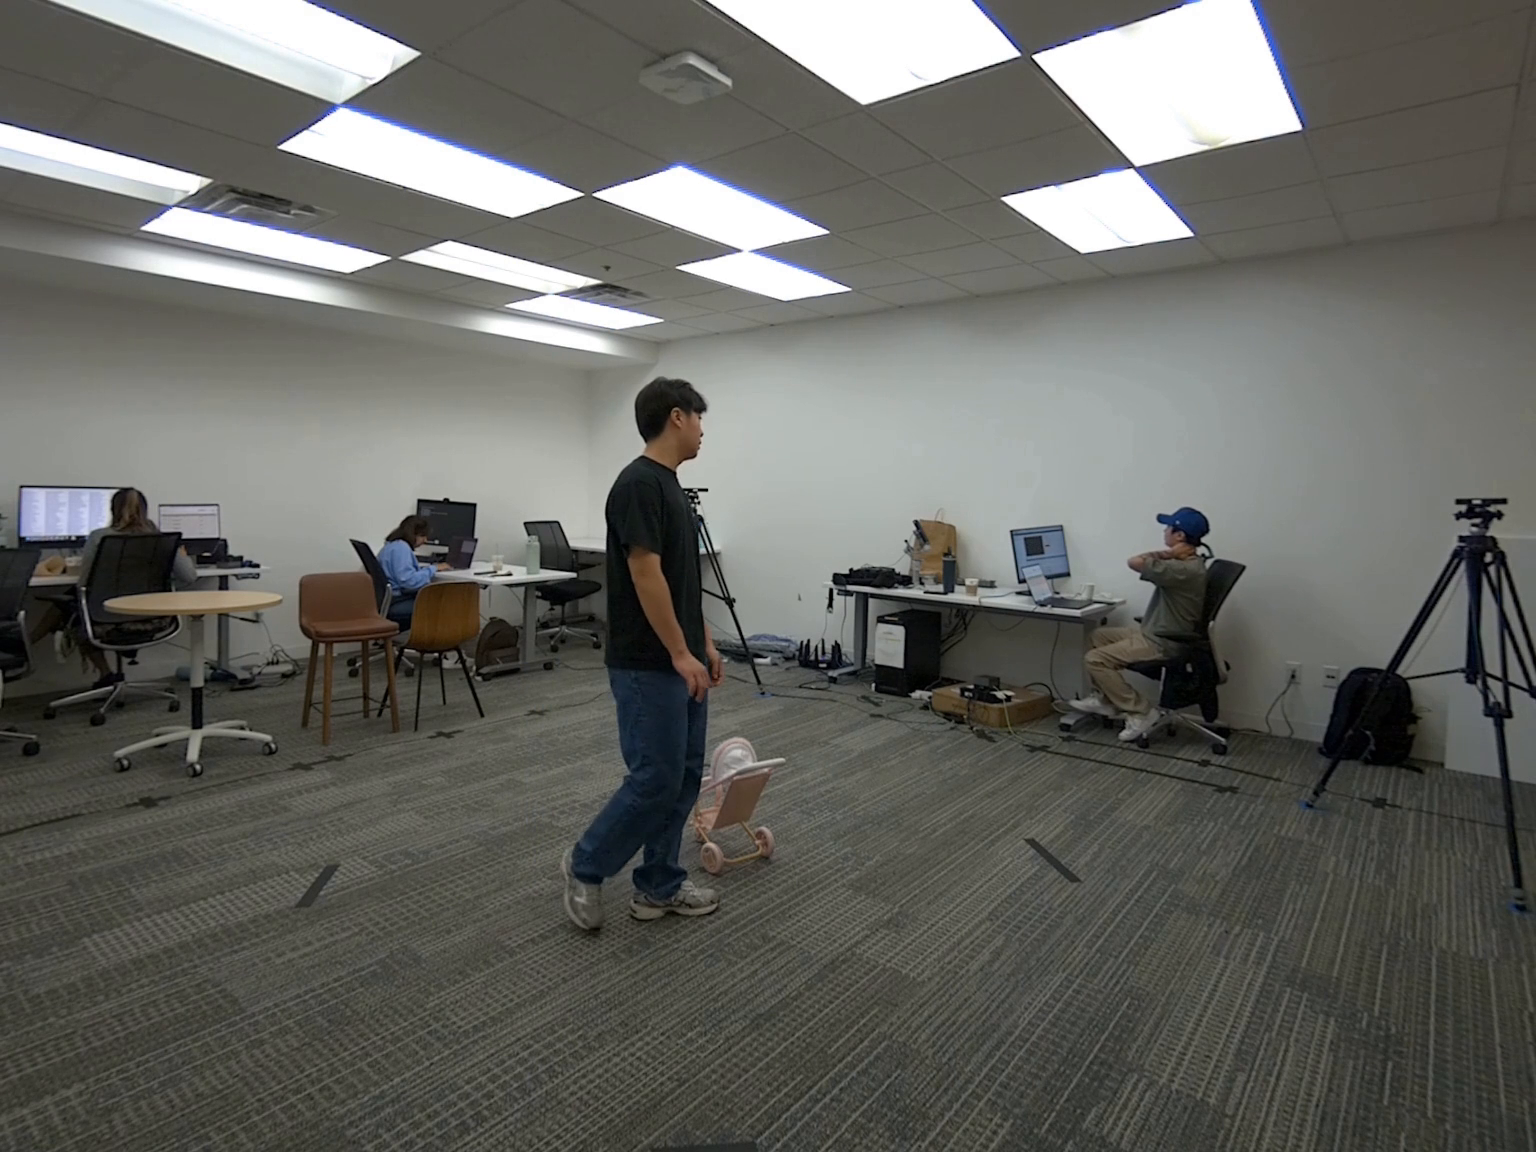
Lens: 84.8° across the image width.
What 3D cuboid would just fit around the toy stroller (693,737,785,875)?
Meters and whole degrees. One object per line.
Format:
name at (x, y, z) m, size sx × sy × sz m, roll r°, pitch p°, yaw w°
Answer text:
toy stroller at (-0.153, 0.836, 3.198) m, size 0.273 × 0.528 × 0.355 m, roll -1°, pitch 20°, yaw -34°
